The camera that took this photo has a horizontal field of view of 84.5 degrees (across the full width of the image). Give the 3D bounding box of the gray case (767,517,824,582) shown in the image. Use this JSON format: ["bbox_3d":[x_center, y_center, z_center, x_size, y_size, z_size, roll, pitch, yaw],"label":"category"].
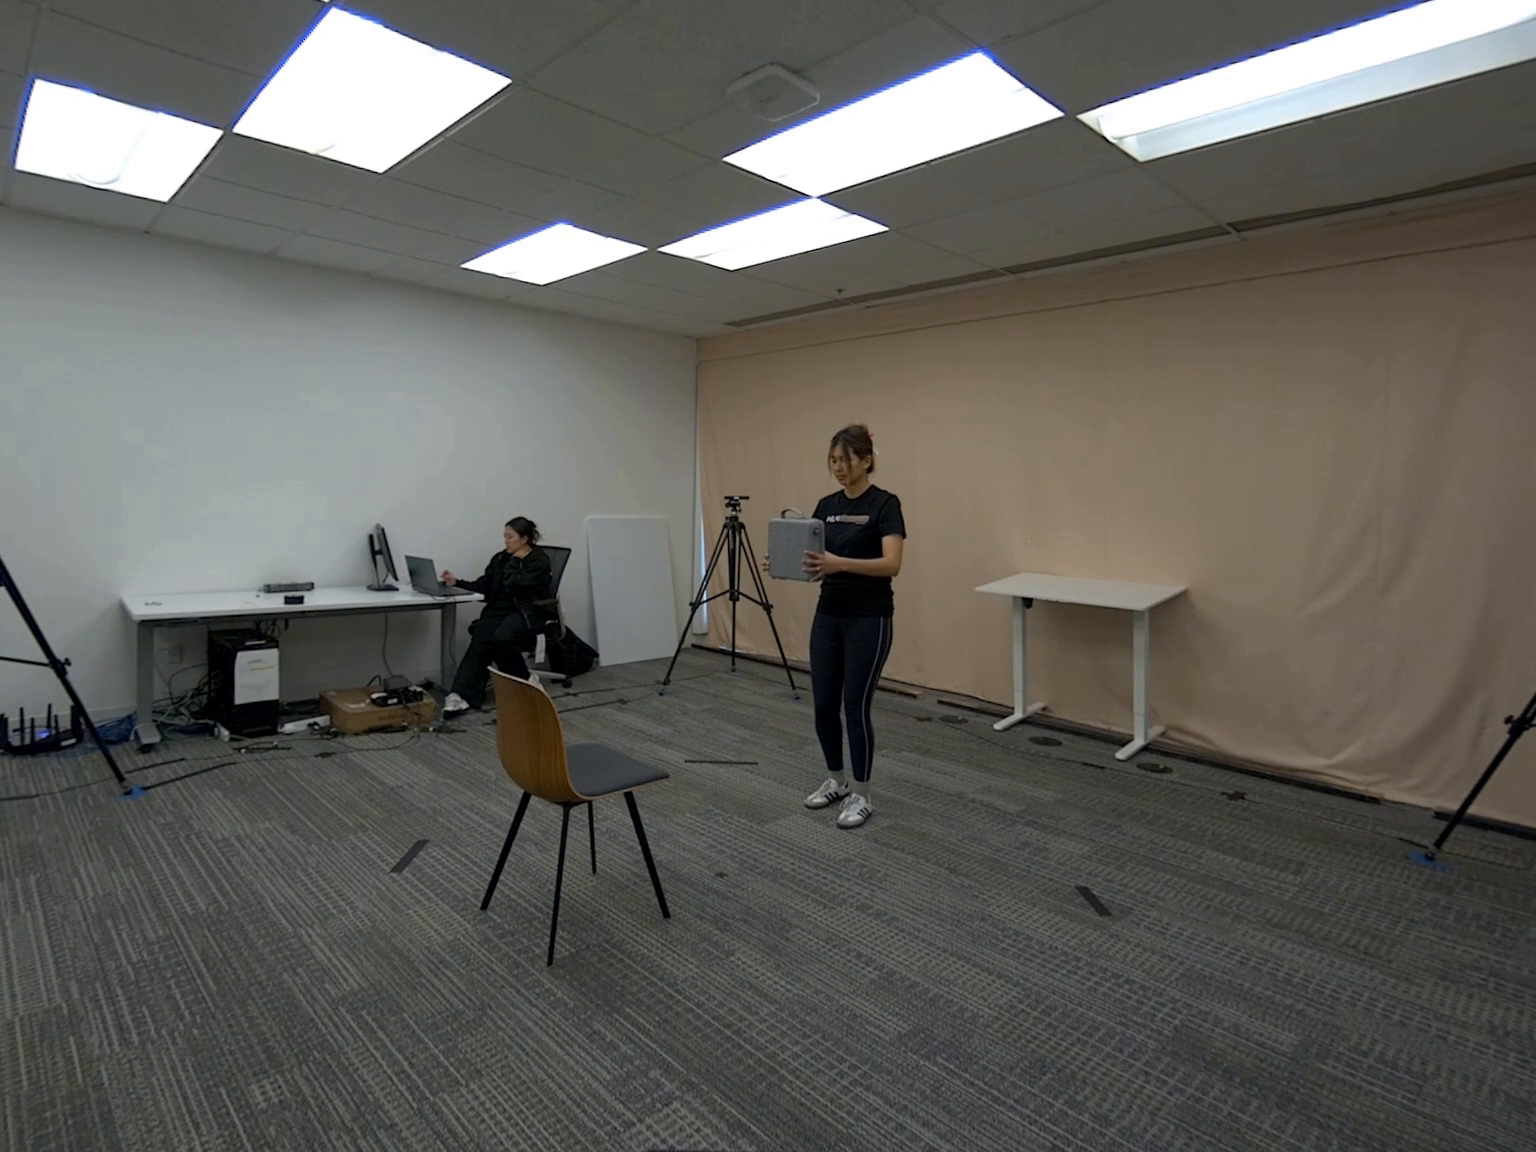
[{"bbox_3d":[0.105,-0.115,3.453,0.102,0.259,0.263,-6,8,-41],"label":"gray case"}]
